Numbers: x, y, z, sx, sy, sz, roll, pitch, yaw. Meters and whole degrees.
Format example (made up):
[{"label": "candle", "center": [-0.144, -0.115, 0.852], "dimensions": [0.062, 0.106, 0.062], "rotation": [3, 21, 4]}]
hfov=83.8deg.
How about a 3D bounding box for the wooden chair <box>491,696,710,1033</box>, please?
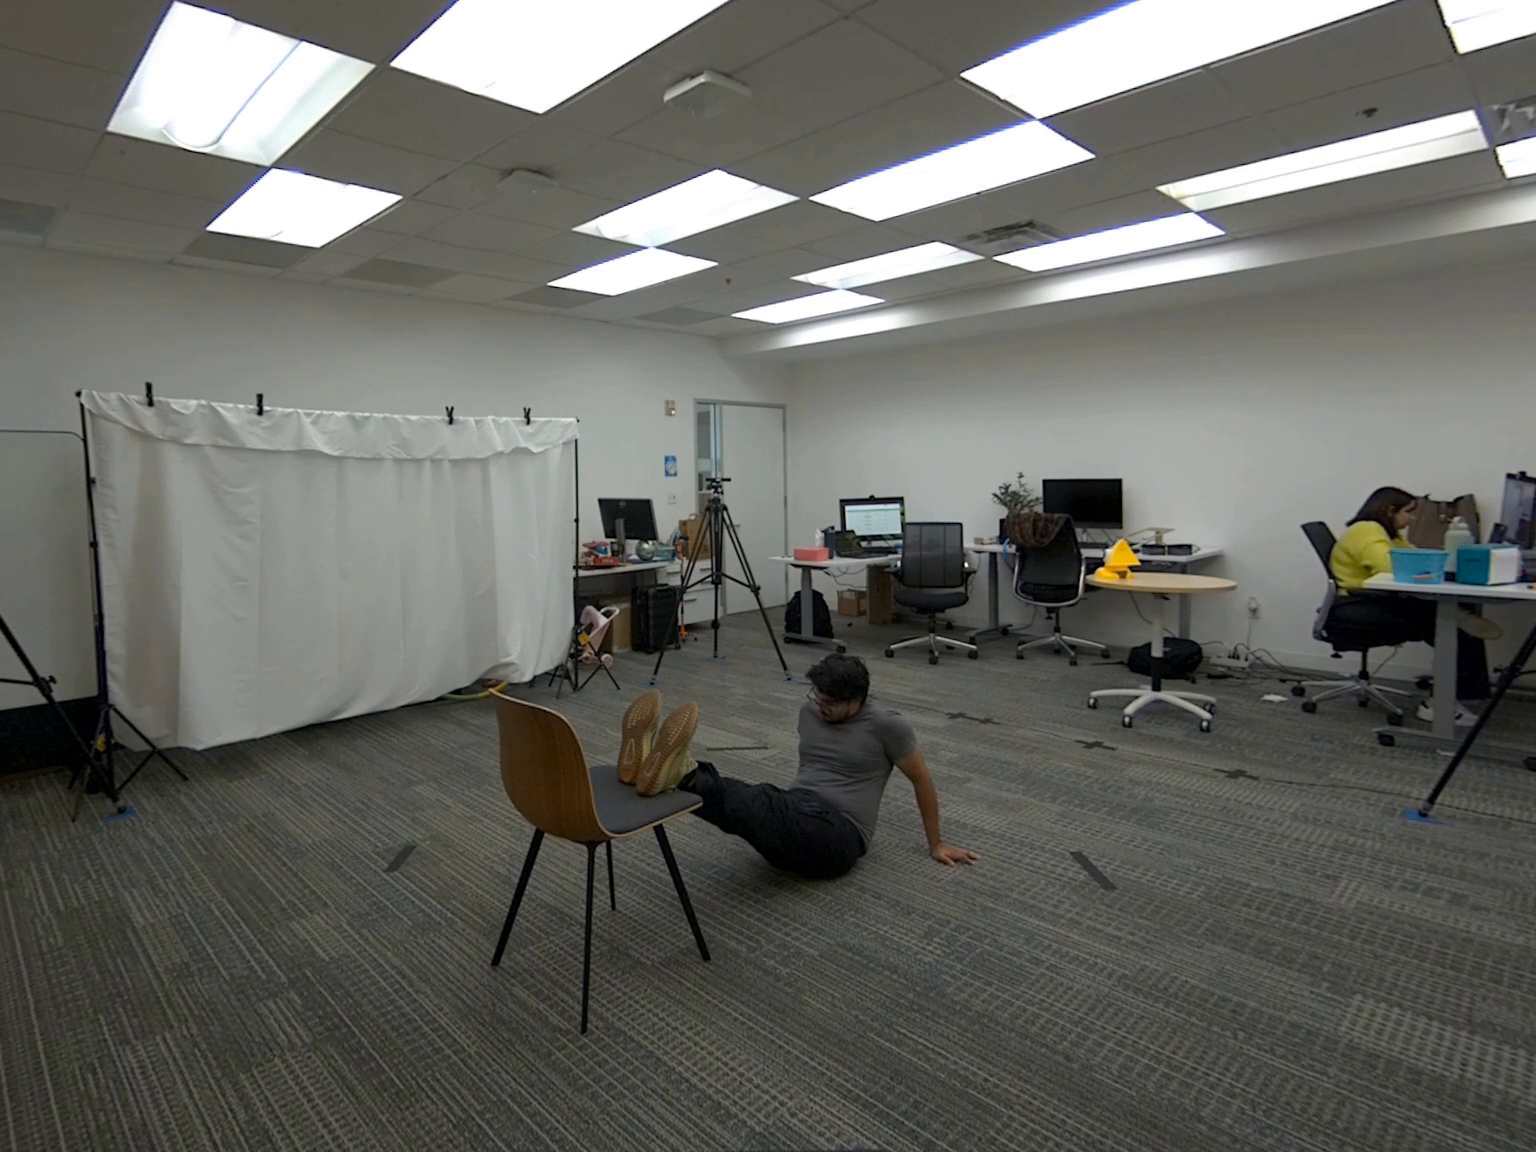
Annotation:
[{"label": "wooden chair", "center": [-0.482, 0.704, 2.452], "dimensions": [0.493, 0.871, 0.511], "rotation": [3, 10, 43]}]
